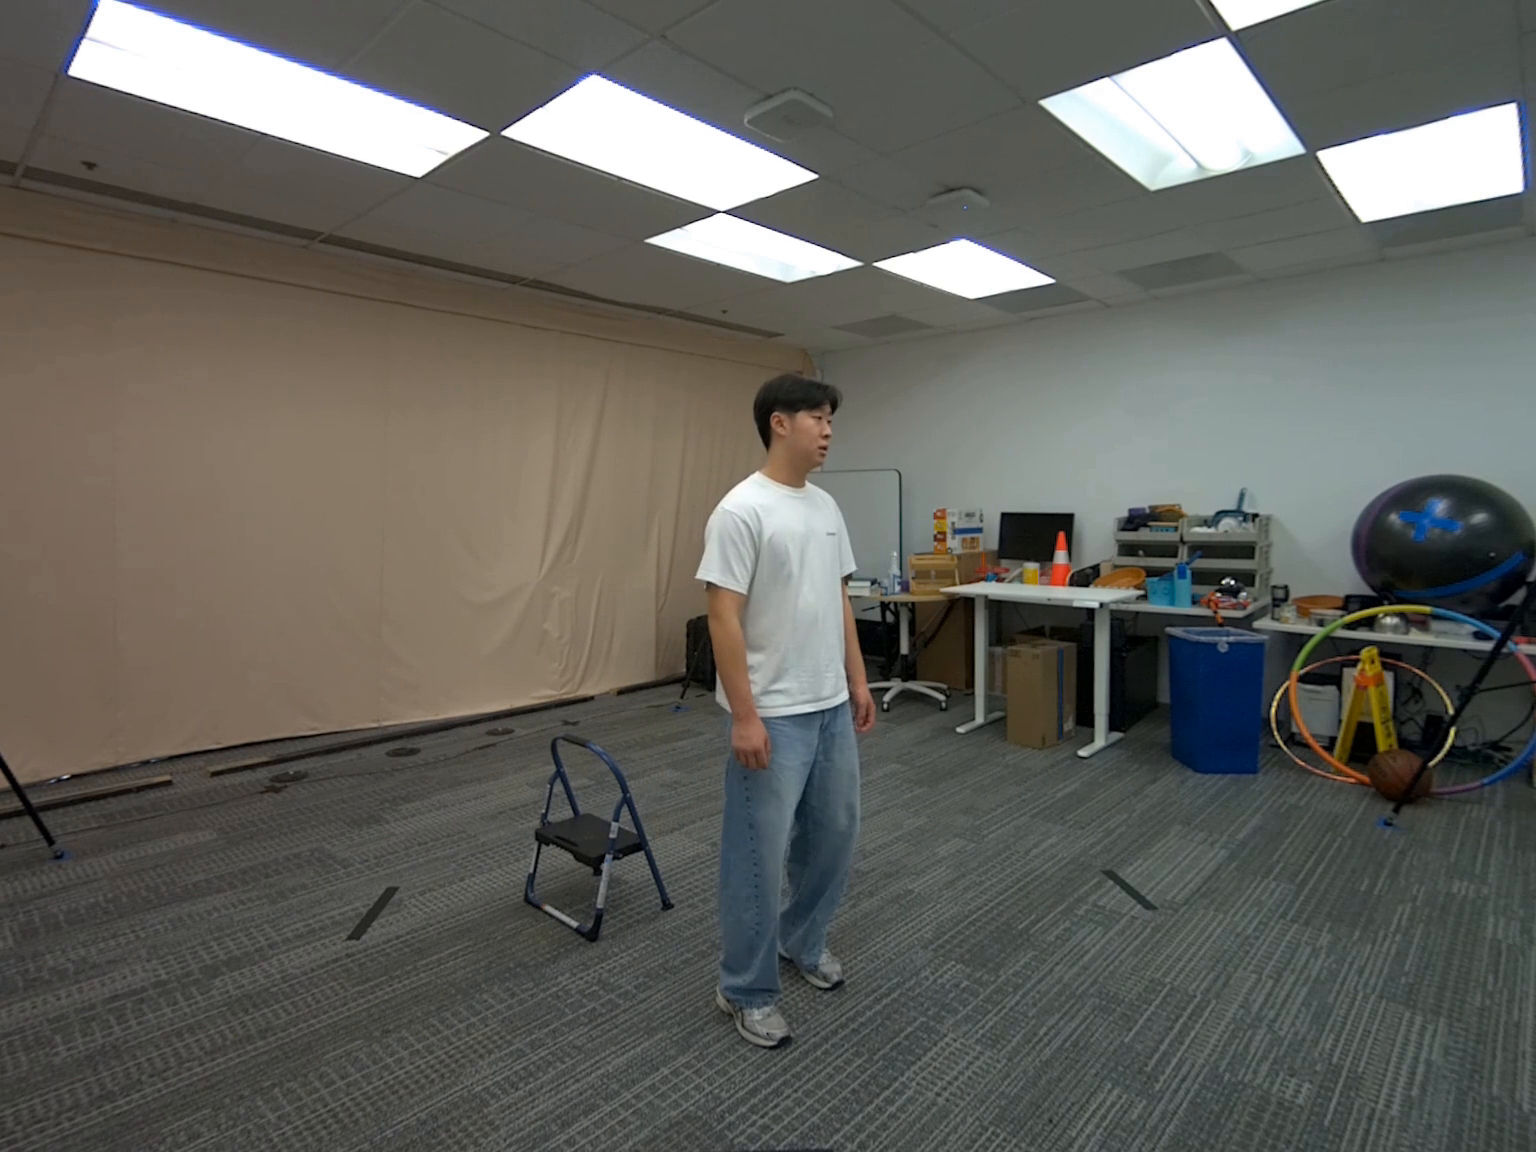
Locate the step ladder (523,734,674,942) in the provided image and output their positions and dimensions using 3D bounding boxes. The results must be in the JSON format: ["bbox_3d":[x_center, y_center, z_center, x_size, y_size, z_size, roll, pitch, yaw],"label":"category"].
[{"bbox_3d":[-0.600,0.848,2.936,0.445,0.605,0.338,2,3,43],"label":"step ladder"}]
